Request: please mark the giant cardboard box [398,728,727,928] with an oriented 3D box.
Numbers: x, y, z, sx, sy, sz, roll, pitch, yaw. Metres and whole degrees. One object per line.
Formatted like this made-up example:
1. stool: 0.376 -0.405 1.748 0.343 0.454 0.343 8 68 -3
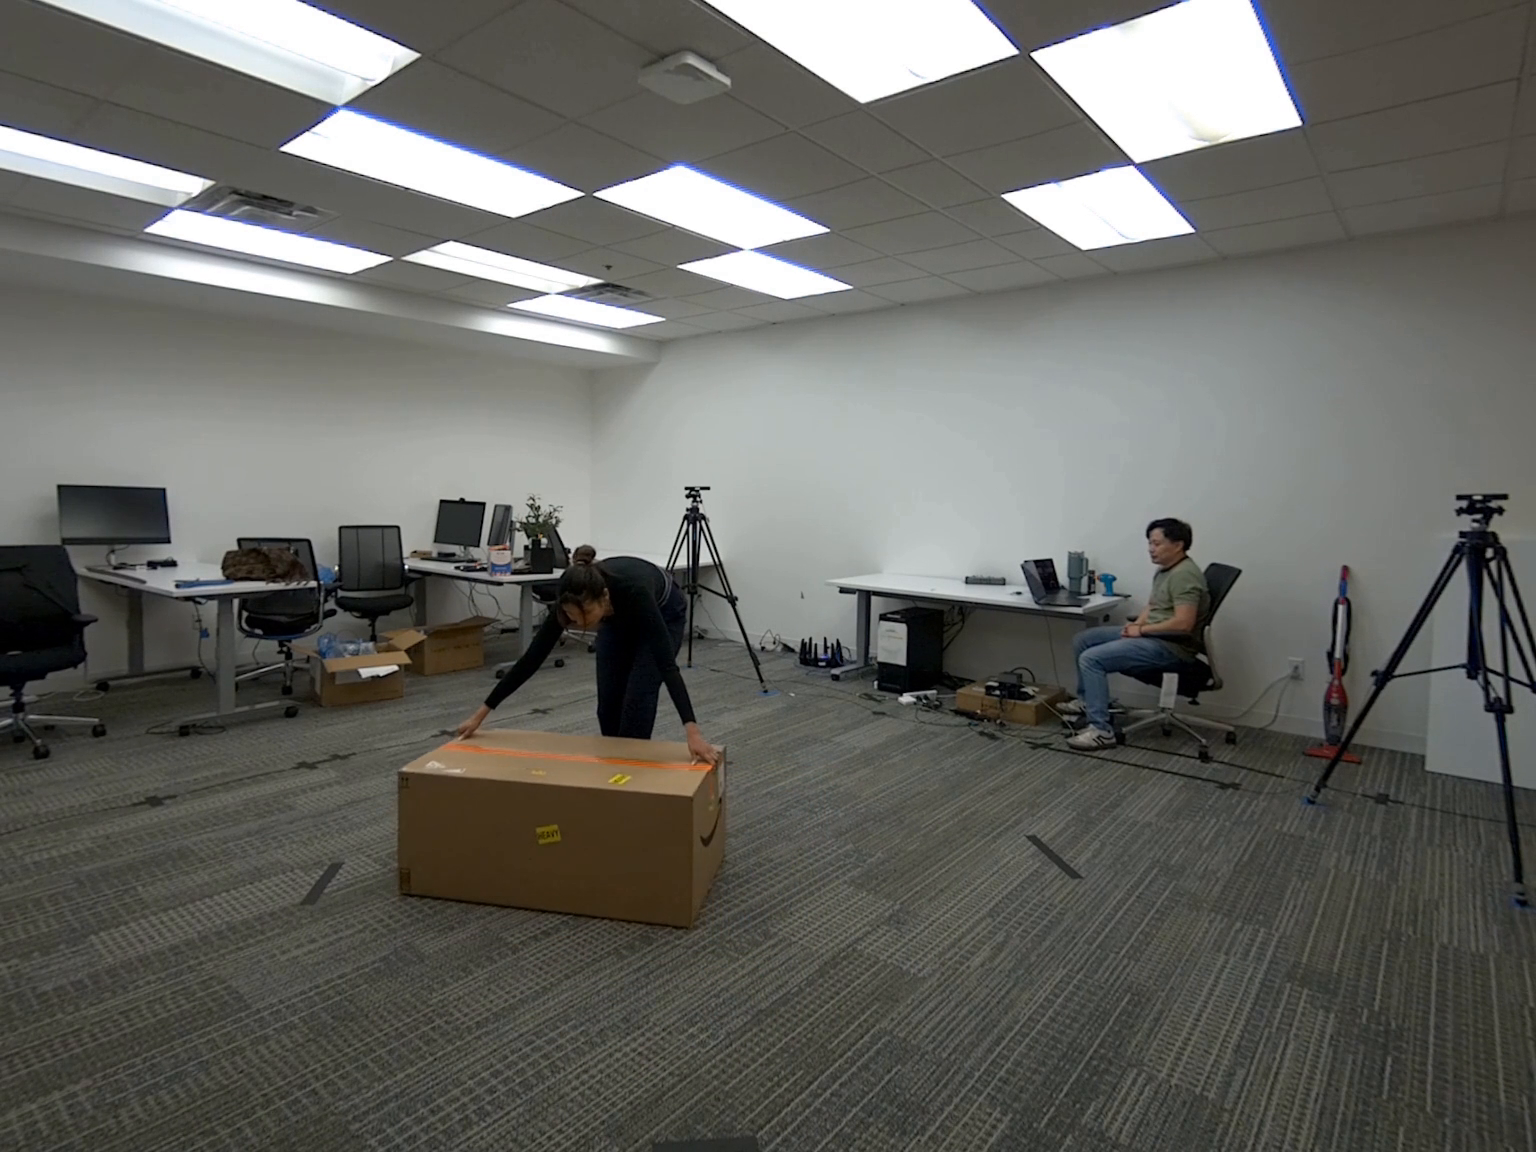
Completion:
1. giant cardboard box: -0.713 0.848 3.037 1.039 0.425 0.572 2 4 11
